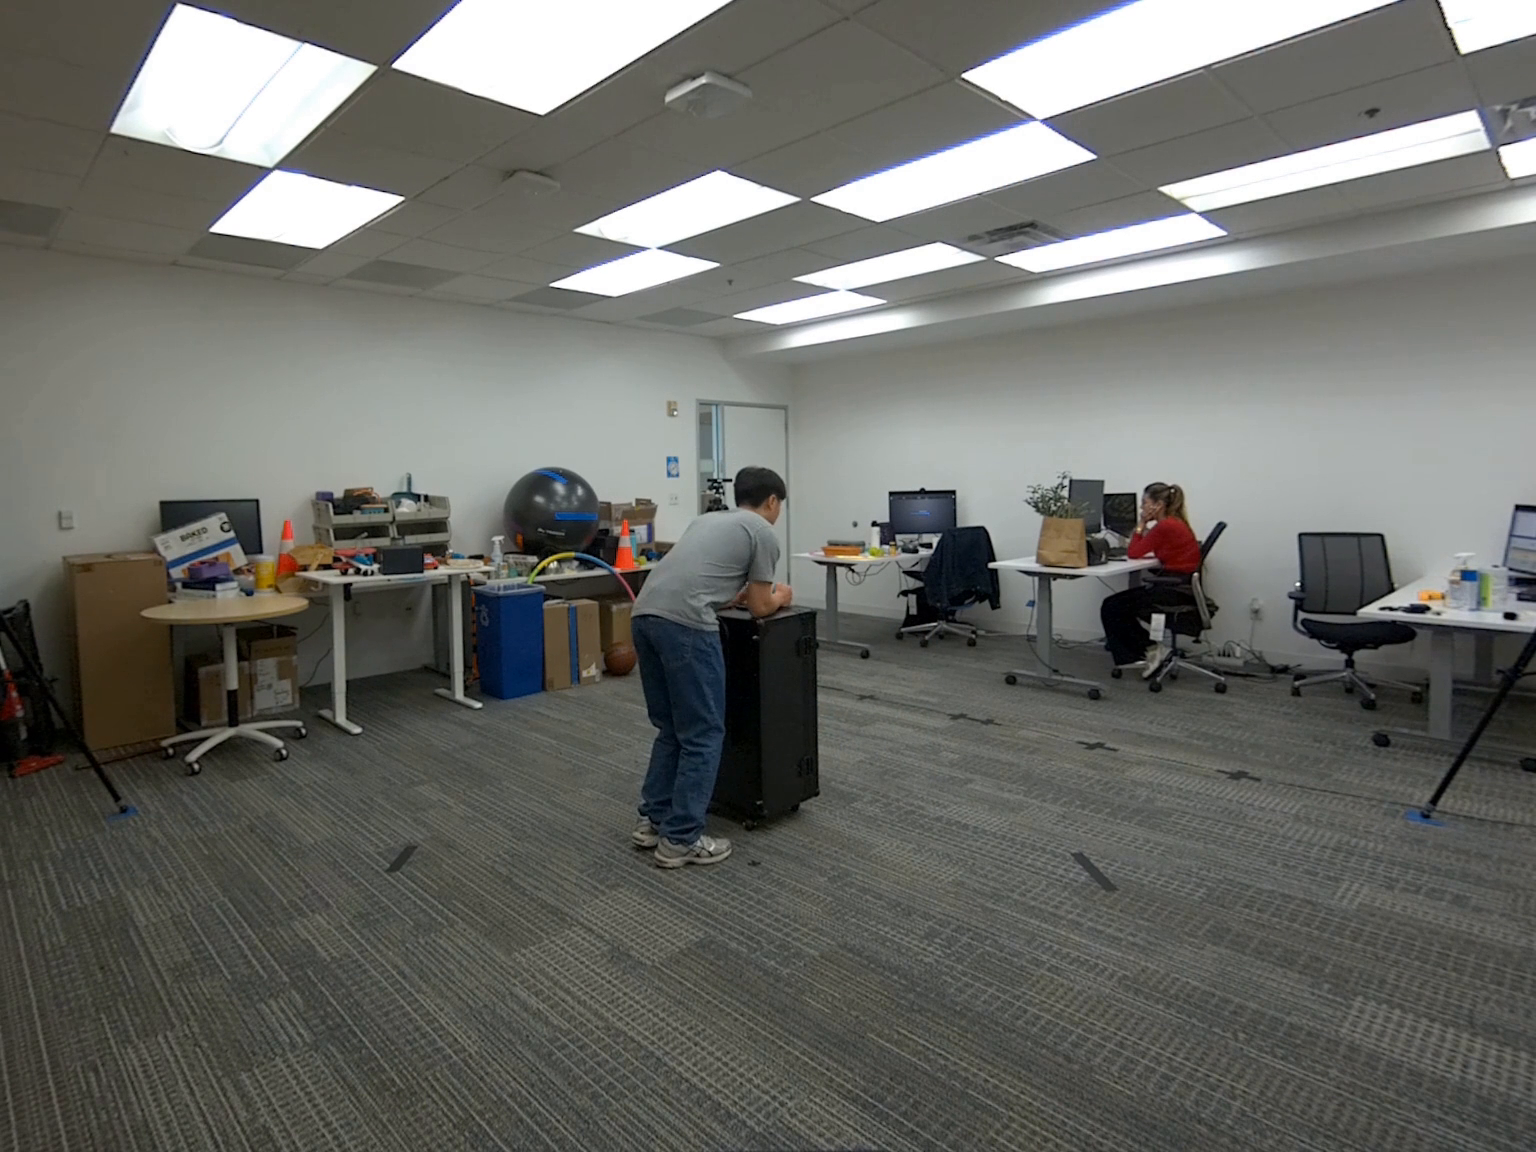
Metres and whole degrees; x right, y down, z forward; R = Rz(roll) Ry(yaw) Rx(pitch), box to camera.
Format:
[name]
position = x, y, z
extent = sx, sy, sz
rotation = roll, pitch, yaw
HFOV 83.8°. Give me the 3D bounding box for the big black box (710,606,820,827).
[big black box]
position = -0.084, 0.566, 3.597
extent = 0.537, 0.857, 0.386
rotation = 4, 7, 43
